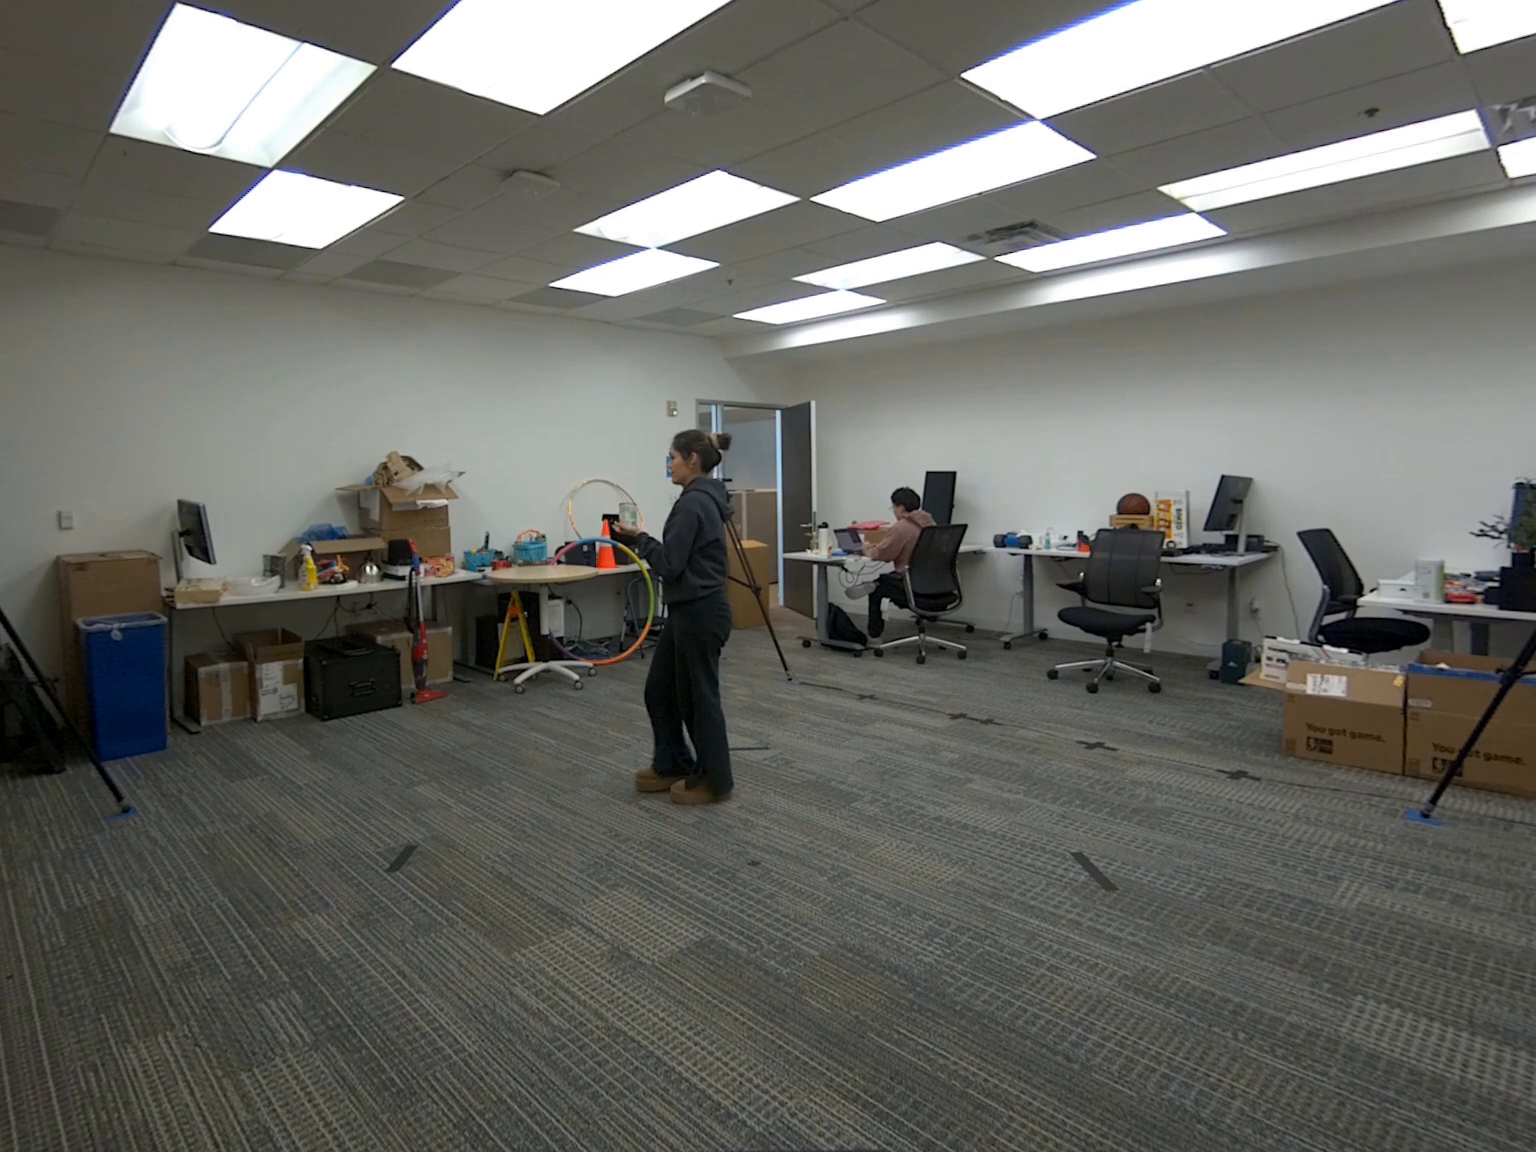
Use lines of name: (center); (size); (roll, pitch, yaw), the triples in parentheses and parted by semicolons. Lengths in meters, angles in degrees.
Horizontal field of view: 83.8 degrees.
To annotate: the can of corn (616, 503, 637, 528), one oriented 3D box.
can of corn: (-0.606, -0.252, 3.647); (0.074, 0.111, 0.074); (-1, -2, -2)
